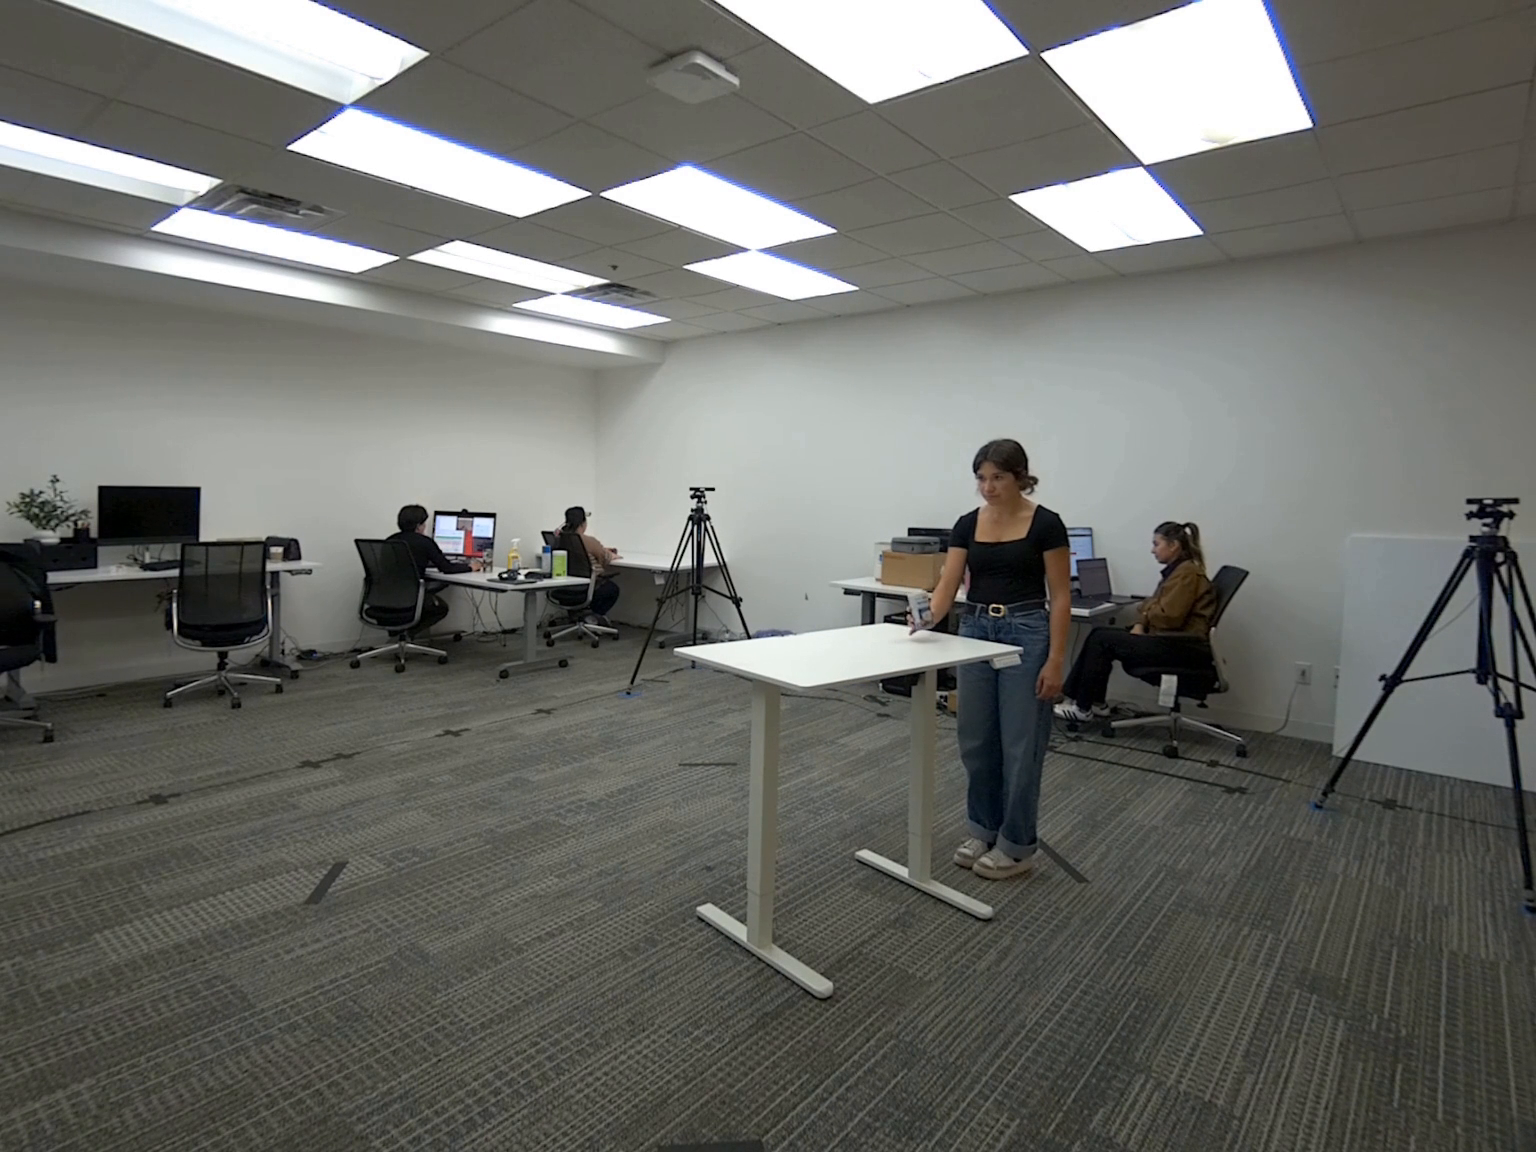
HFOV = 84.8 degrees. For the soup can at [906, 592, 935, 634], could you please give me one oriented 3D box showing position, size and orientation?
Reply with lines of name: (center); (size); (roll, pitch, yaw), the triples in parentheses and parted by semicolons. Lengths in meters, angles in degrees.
soup can: (0.510, 0.109, 2.886); (0.067, 0.121, 0.067); (-9, 3, -1)
